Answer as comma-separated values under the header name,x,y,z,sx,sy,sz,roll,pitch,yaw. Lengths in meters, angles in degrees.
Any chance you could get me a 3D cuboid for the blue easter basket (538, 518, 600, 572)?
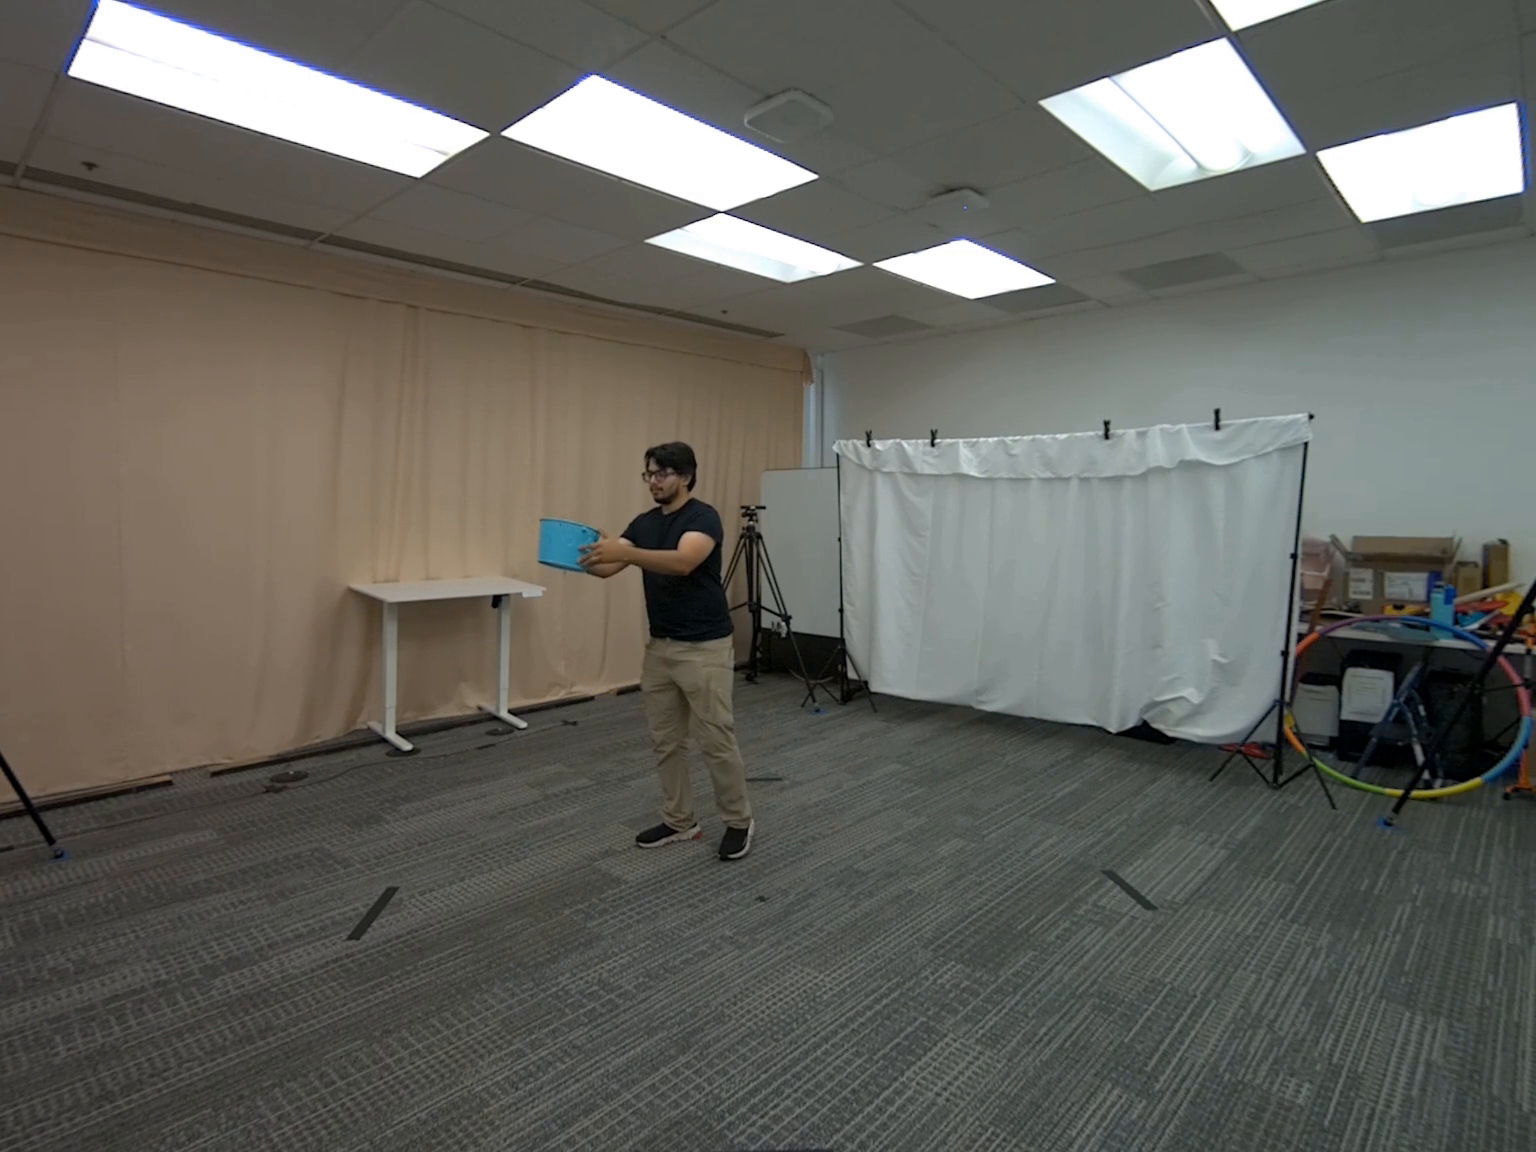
name,x,y,z,sx,sy,sz,roll,pitch,yaw
blue easter basket,-0.725,-0.110,3.089,0.244,0.156,0.243,12,-7,0
